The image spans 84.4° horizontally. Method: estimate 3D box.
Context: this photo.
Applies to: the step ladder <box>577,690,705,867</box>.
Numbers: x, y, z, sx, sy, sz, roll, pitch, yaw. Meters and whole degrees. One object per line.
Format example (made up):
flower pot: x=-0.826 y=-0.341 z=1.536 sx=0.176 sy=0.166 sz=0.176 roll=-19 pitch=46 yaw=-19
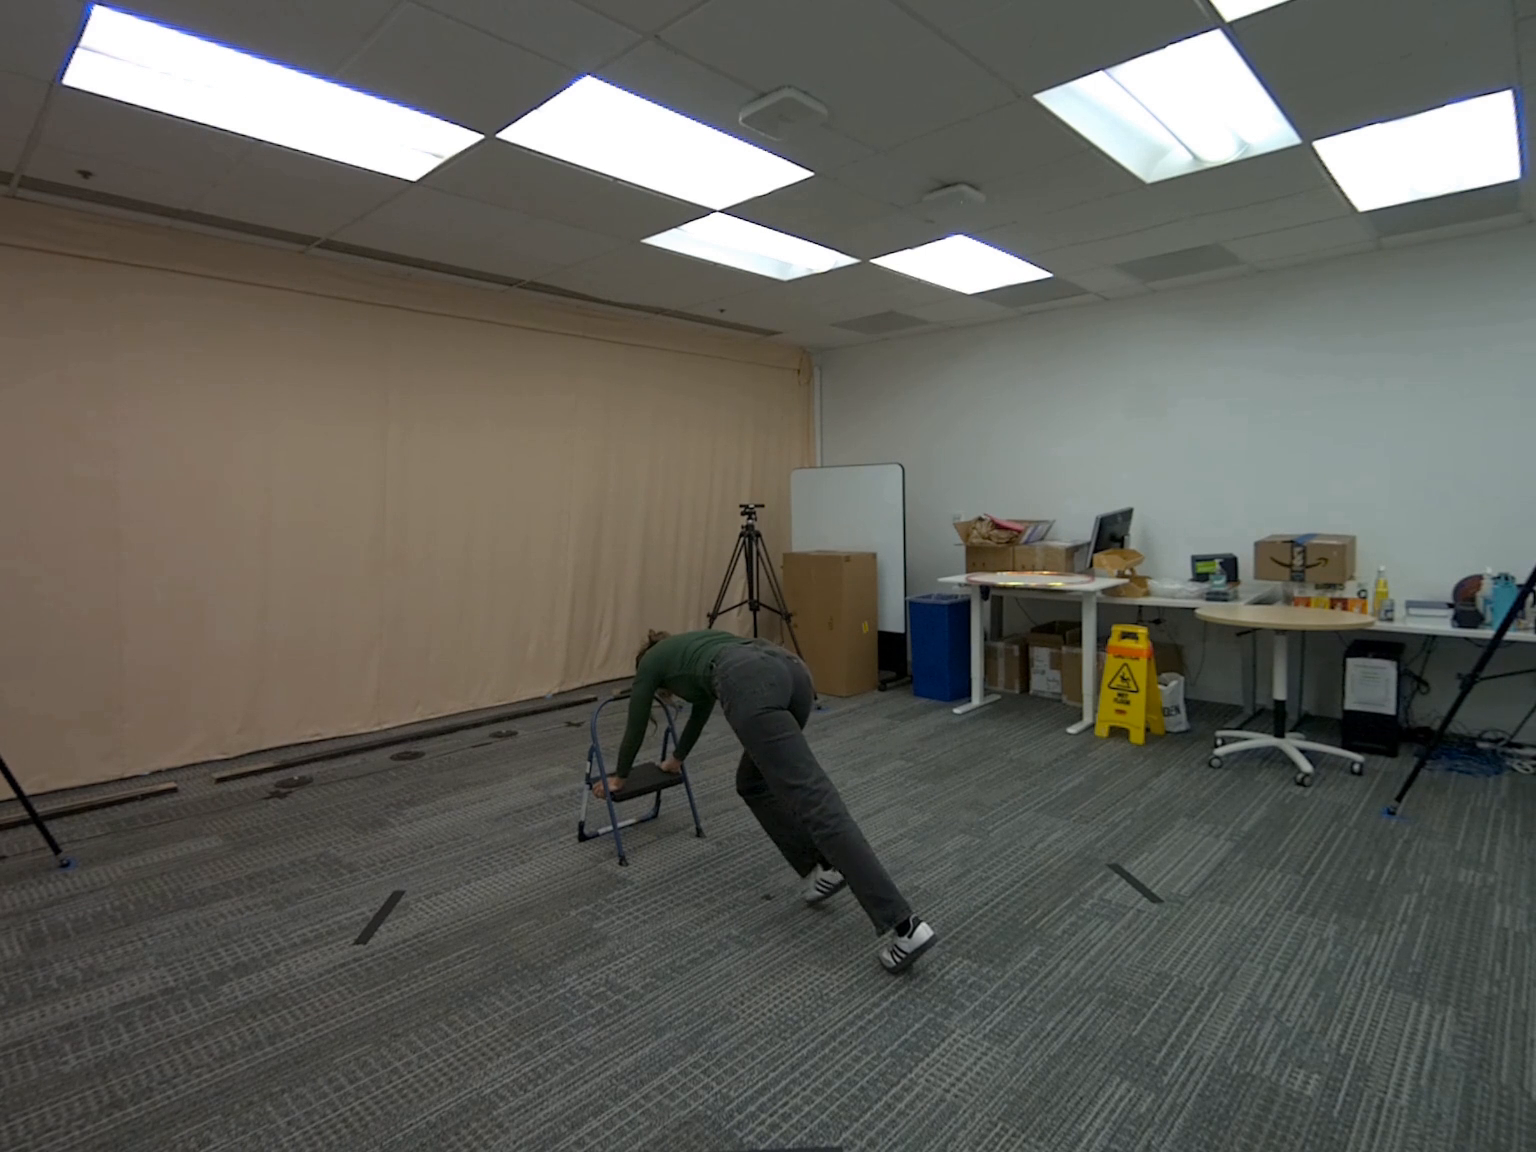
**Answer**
step ladder: x=-0.537 y=0.804 z=3.524 sx=0.417 sy=0.605 sz=0.361 roll=-4 pitch=4 yaw=-43
